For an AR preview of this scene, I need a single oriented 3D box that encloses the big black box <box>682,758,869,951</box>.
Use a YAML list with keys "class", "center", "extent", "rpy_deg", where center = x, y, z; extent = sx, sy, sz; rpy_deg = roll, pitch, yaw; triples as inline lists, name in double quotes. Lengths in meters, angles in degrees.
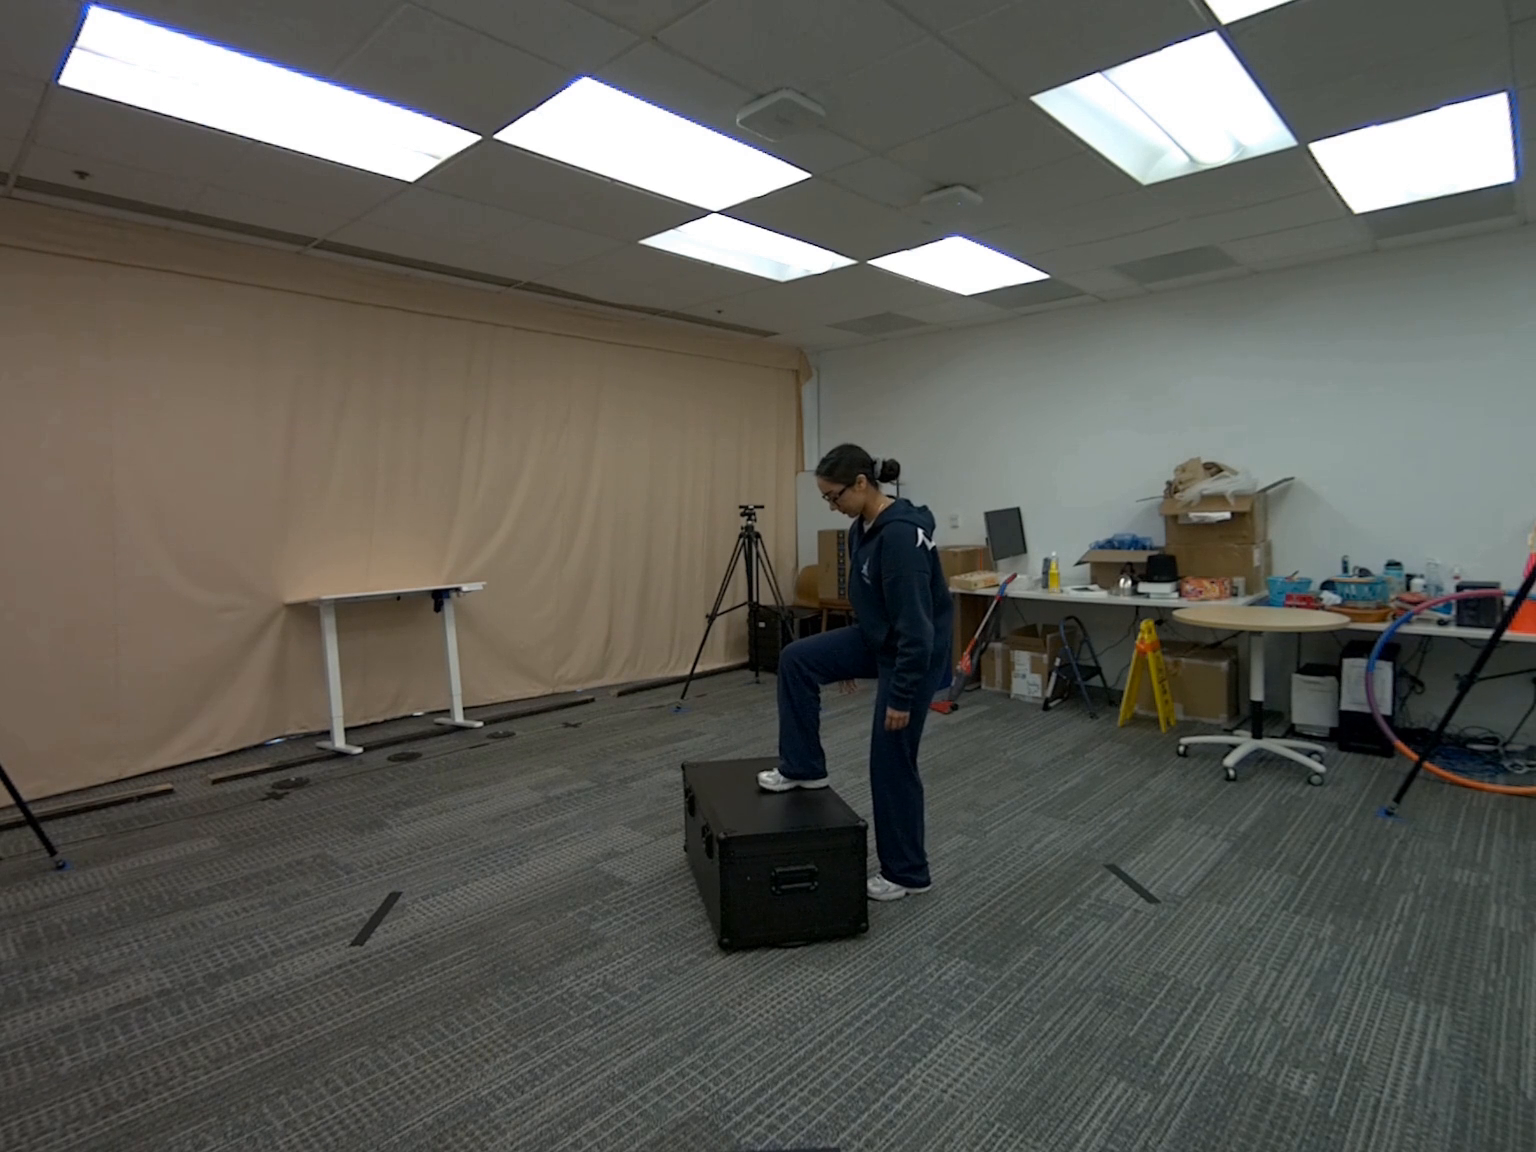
- class: "big black box"
  center: [-0.013, 0.946, 3.044]
  extent: [0.514, 0.395, 0.875]
  rpy_deg: [-2, 5, -13]
